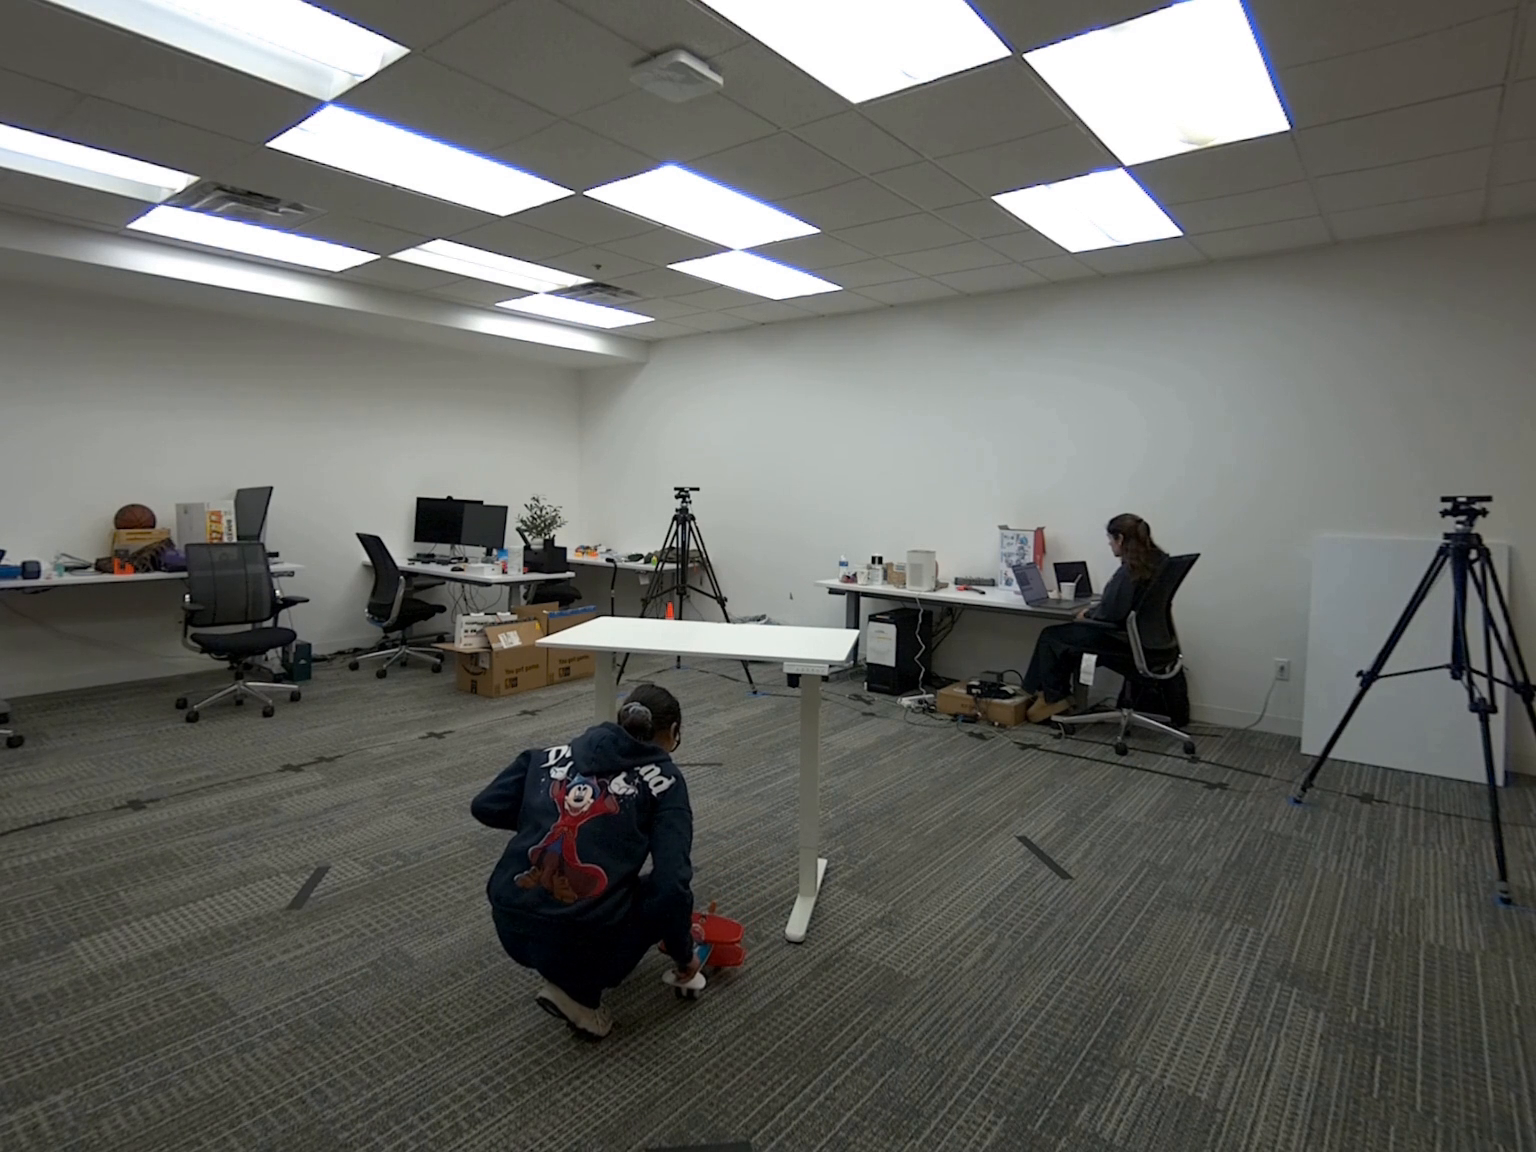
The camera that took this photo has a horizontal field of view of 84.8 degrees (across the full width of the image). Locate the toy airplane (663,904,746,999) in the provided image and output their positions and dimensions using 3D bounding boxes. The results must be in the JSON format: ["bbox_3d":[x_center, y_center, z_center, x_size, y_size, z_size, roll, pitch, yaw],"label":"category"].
[{"bbox_3d":[-0.172,1.073,2.398,0.247,0.155,0.265,-4,7,-16],"label":"toy airplane"}]
